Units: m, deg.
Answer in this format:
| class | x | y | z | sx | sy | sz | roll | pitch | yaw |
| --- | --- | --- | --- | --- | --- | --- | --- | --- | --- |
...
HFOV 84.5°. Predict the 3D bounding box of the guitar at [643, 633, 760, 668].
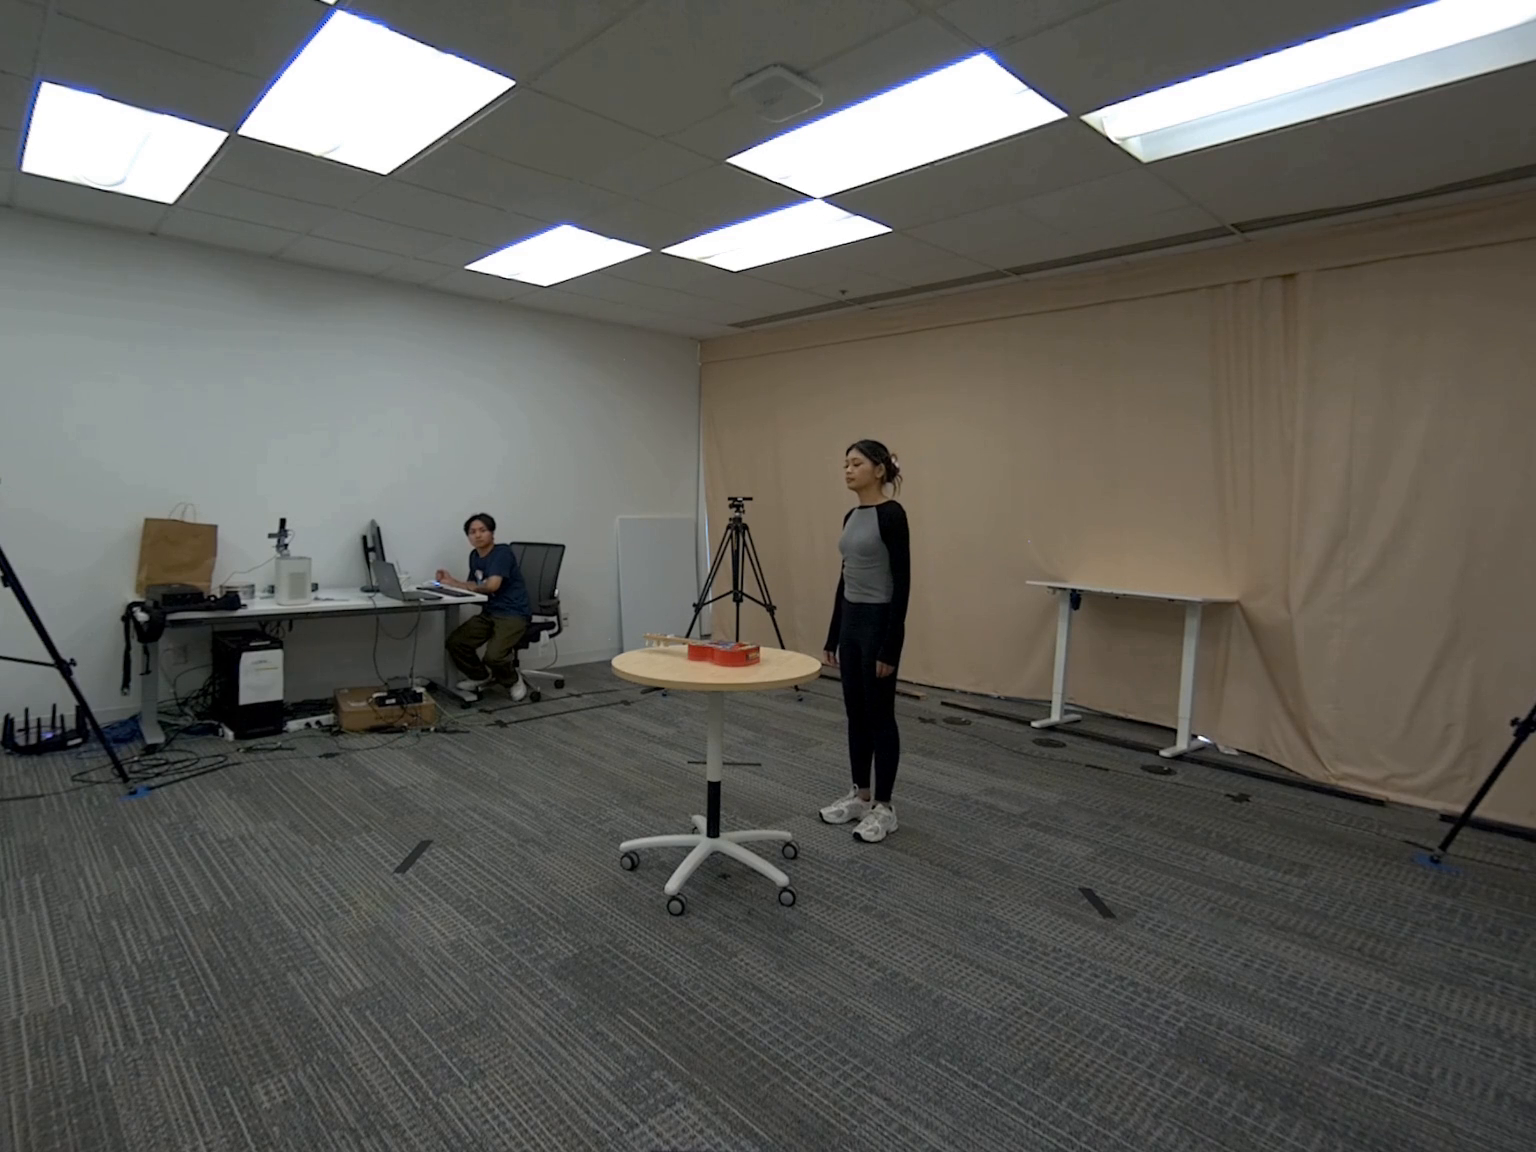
| class | x | y | z | sx | sy | sz | roll | pitch | yaw |
| --- | --- | --- | --- | --- | --- | --- | --- | --- | --- |
| guitar | -0.257 | 0.274 | 3.187 | 0.510 | 0.070 | 0.189 | 5 | 5 | 39 |
